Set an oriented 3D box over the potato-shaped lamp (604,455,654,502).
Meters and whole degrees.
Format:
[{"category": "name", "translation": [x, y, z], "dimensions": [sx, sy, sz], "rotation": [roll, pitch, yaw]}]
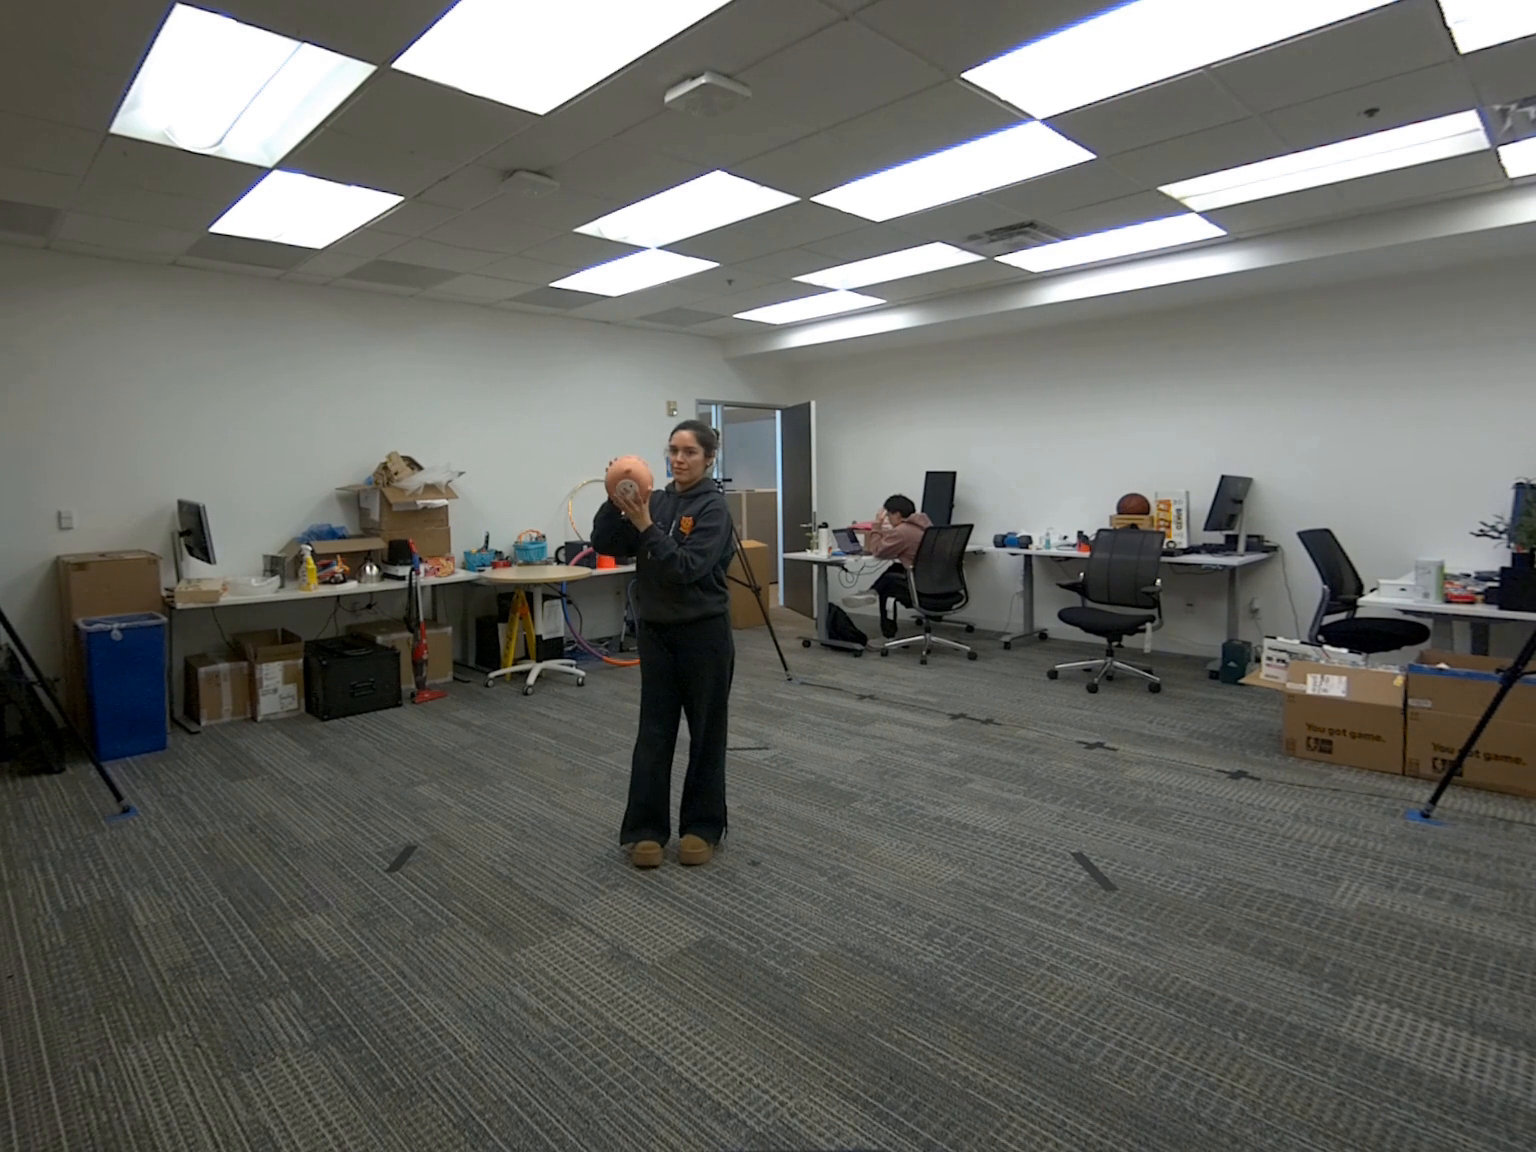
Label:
[{"category": "potato-shaped lamp", "translation": [-0.485, -0.343, 2.986], "dimensions": [0.169, 0.163, 0.203], "rotation": [15, 28, -10]}]
